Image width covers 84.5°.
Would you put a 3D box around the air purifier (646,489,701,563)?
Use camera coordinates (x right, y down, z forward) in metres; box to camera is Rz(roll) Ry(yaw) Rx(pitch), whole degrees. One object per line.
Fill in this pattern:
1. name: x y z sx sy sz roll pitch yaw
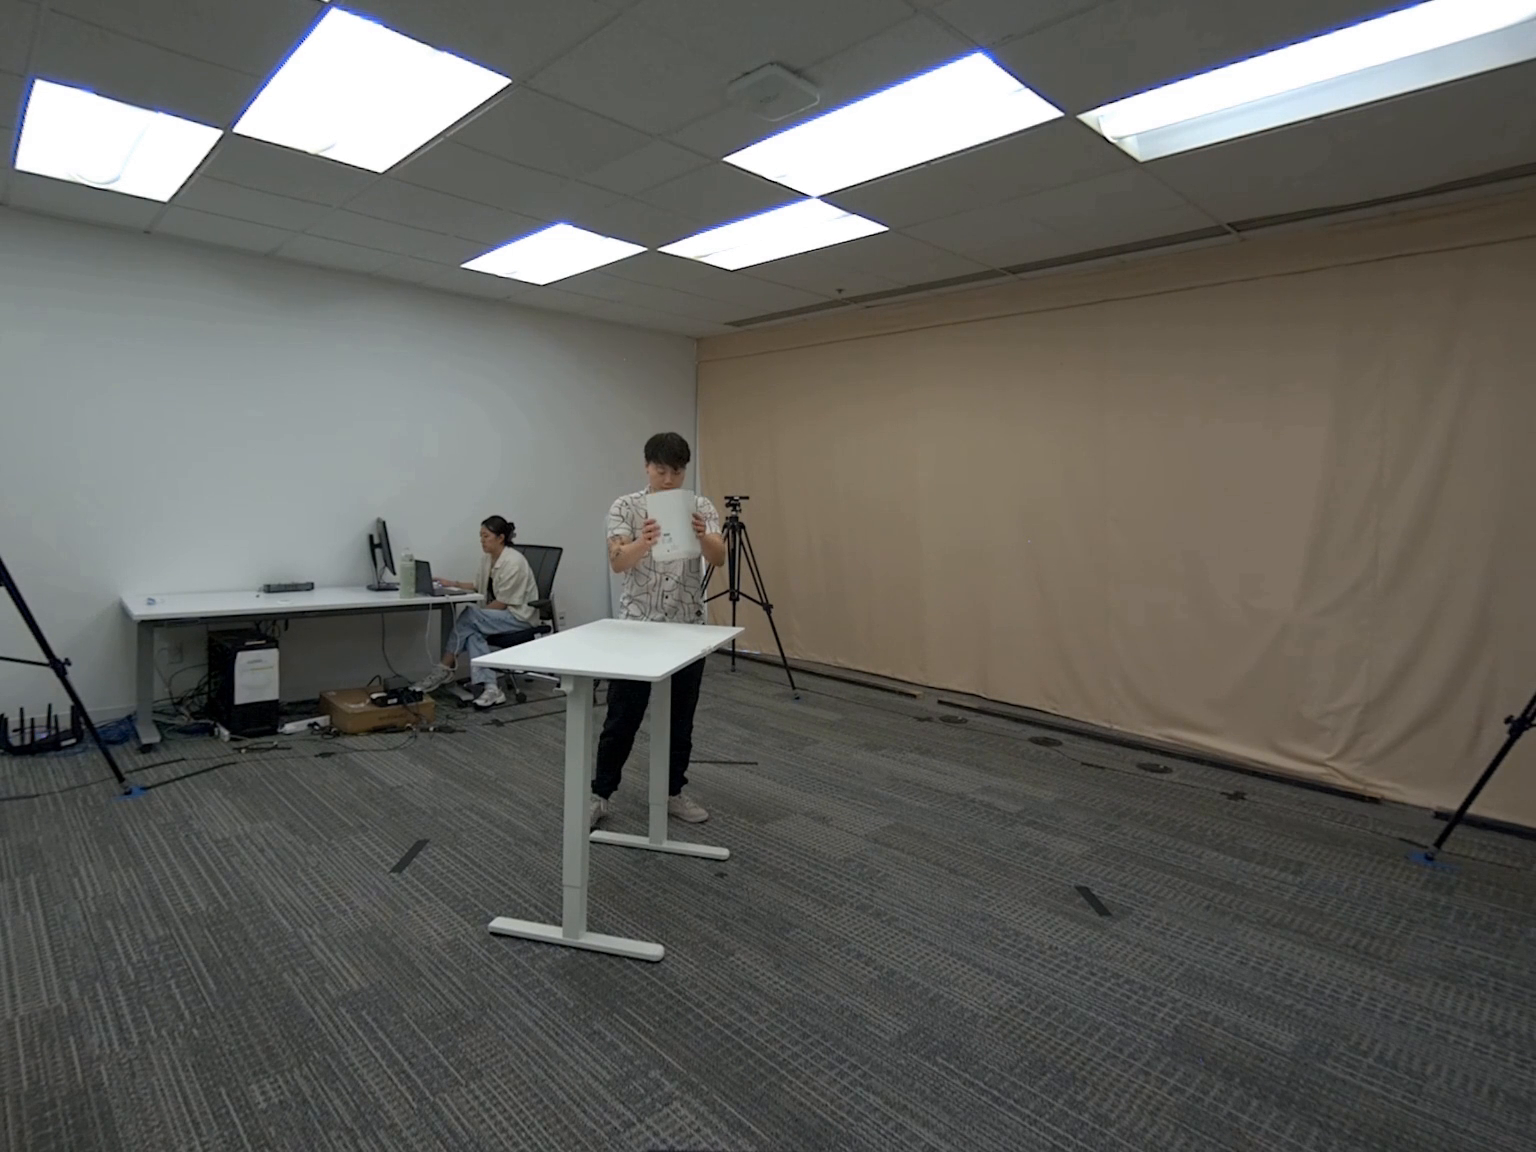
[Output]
1. air purifier: -0.389 -0.185 3.245 0.173 0.266 0.170 -6 -1 13
